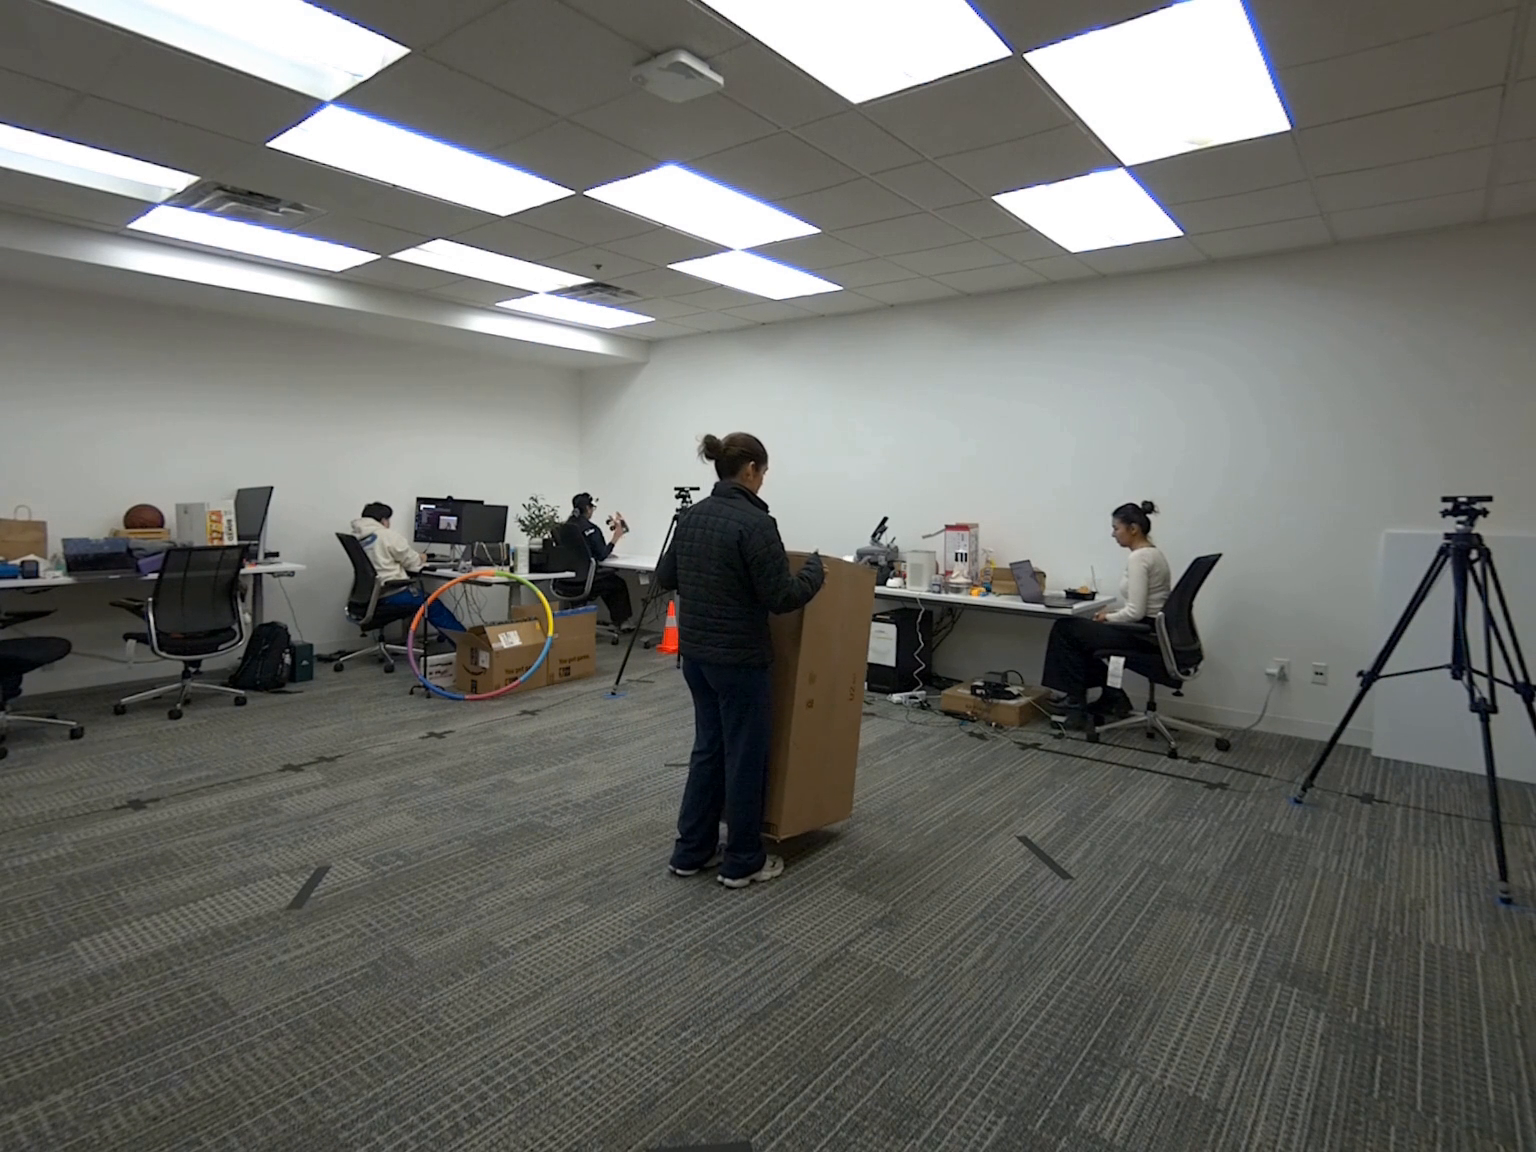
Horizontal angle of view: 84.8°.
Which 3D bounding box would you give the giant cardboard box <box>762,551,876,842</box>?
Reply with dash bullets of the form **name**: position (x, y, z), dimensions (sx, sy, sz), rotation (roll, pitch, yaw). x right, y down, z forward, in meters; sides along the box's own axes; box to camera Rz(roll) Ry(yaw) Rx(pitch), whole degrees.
- **giant cardboard box**: position (0.095, 0.429, 3.393), dimensions (0.440, 1.029, 0.557), rotation (4, -4, 35)
